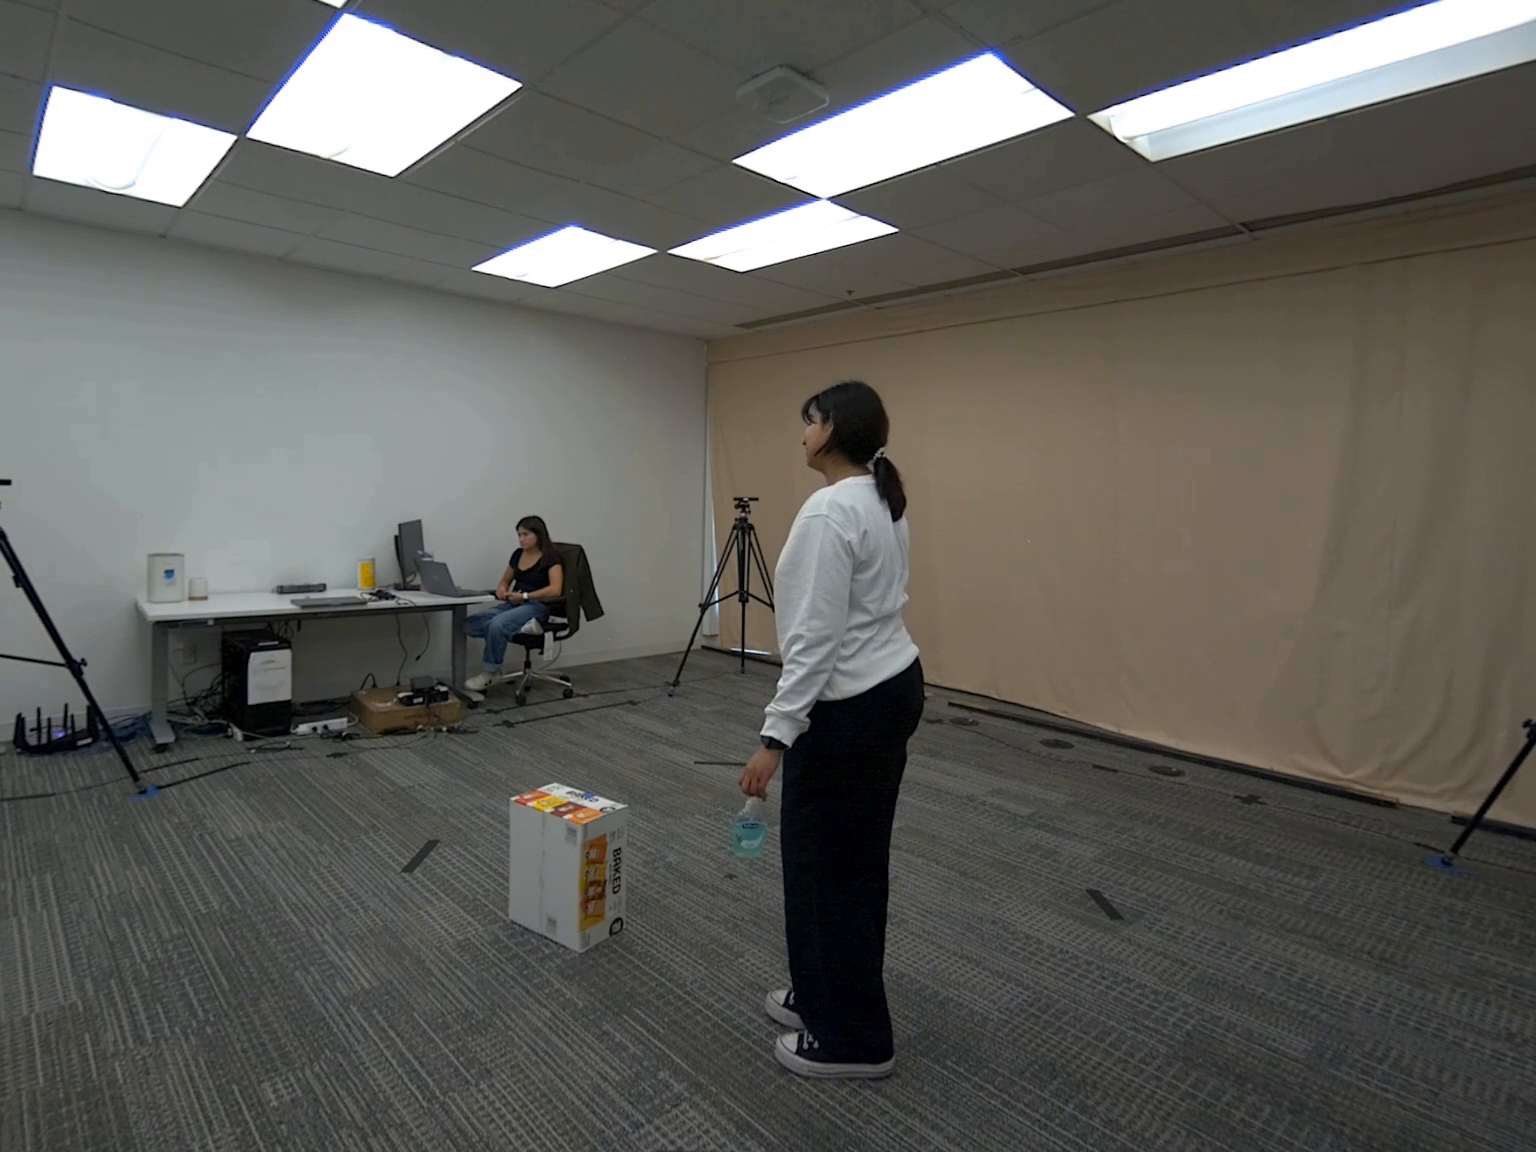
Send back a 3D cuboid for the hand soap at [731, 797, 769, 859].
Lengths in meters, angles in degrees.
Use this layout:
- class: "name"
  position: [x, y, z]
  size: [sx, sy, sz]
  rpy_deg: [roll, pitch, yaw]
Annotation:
- class: "hand soap"
  position: [-0.034, 0.586, 1.981]
  size: [0.084, 0.168, 0.044]
  rpy_deg: [4, 3, -8]
